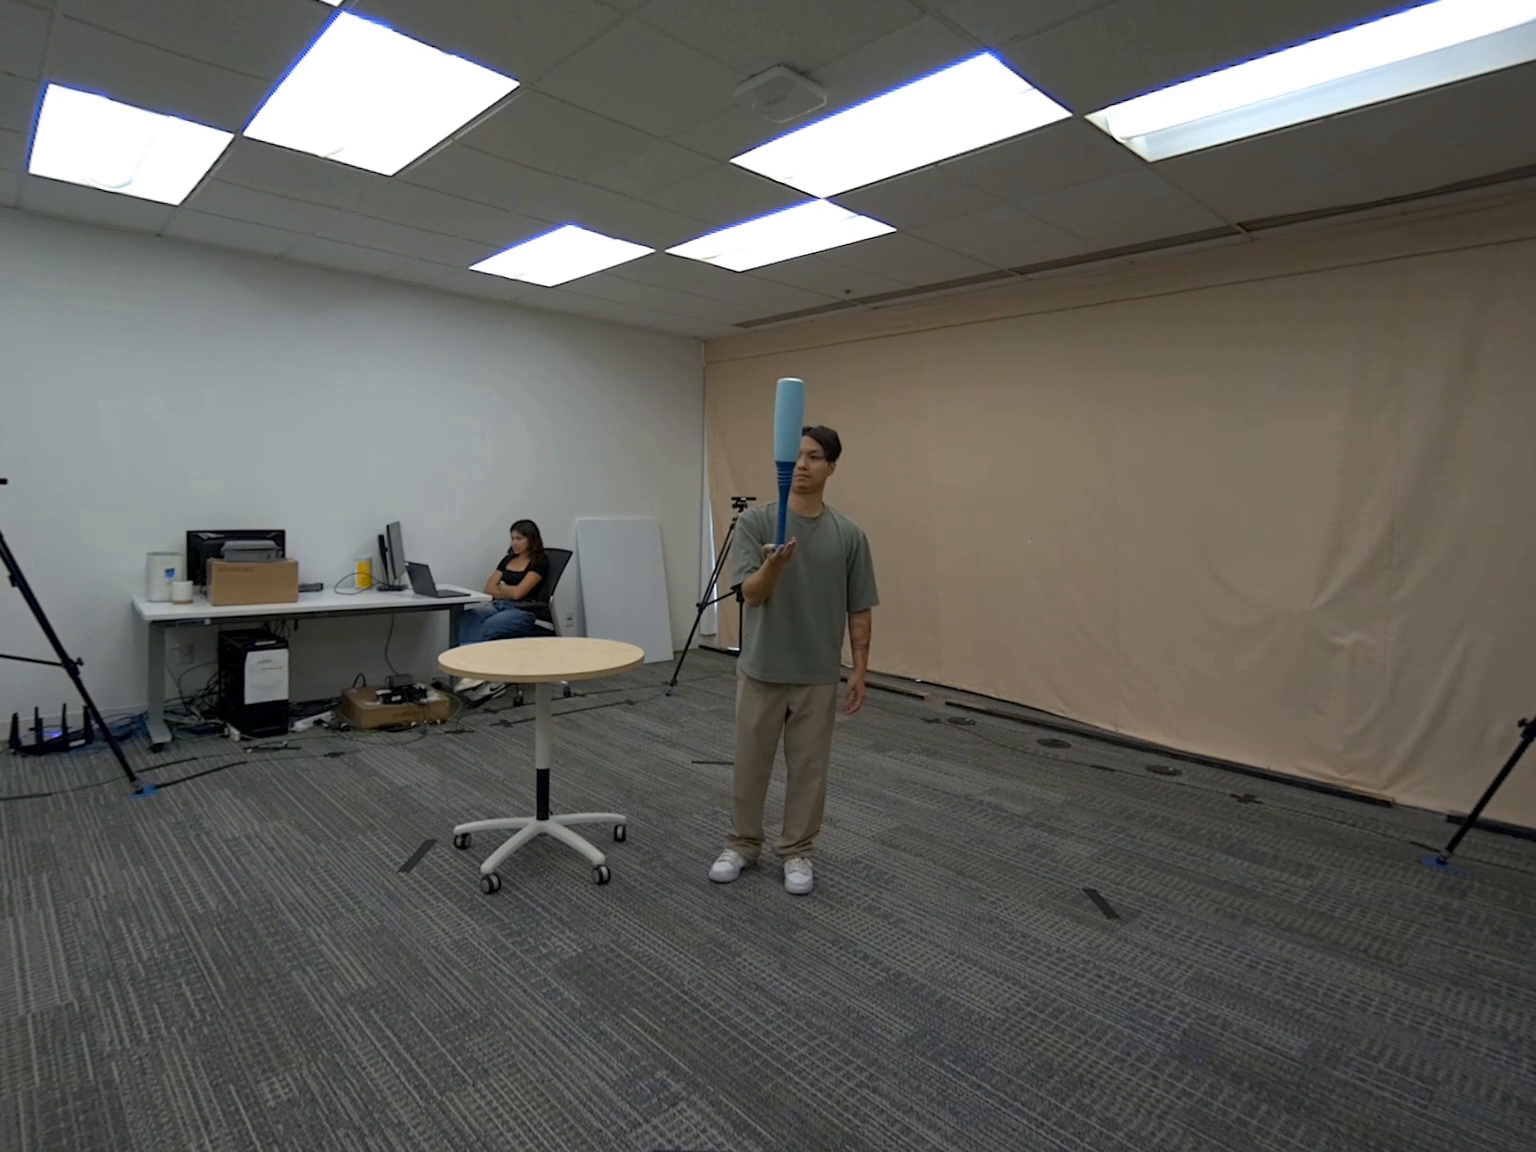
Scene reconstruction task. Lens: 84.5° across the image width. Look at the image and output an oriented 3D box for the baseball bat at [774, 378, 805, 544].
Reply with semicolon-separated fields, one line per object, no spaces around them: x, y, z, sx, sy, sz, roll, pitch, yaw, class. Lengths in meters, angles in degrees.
0.052;-0.337;2.601;0.089;0.539;0.090;3;10;-2;baseball bat
